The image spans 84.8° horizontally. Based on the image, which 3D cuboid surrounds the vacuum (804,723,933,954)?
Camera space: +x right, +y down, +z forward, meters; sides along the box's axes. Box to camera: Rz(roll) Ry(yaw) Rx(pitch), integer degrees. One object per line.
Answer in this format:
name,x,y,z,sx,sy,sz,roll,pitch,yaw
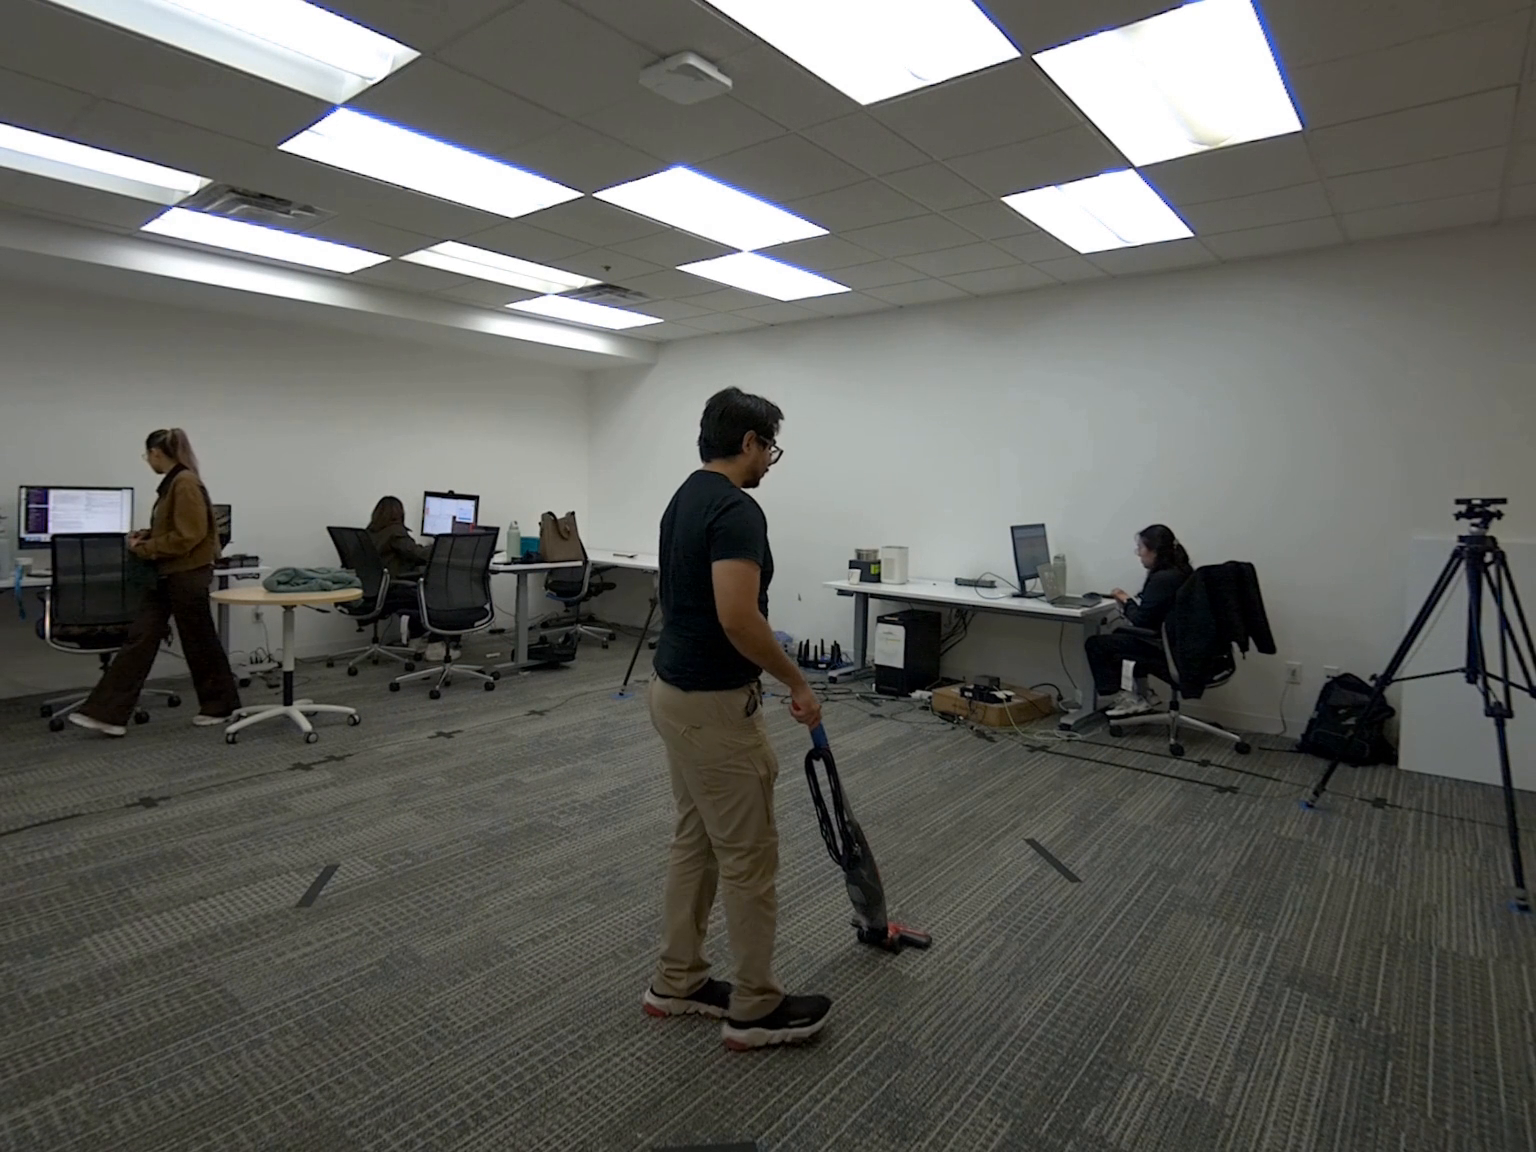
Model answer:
vacuum,0.215,0.722,2.389,0.261,1.014,0.144,5,40,35
